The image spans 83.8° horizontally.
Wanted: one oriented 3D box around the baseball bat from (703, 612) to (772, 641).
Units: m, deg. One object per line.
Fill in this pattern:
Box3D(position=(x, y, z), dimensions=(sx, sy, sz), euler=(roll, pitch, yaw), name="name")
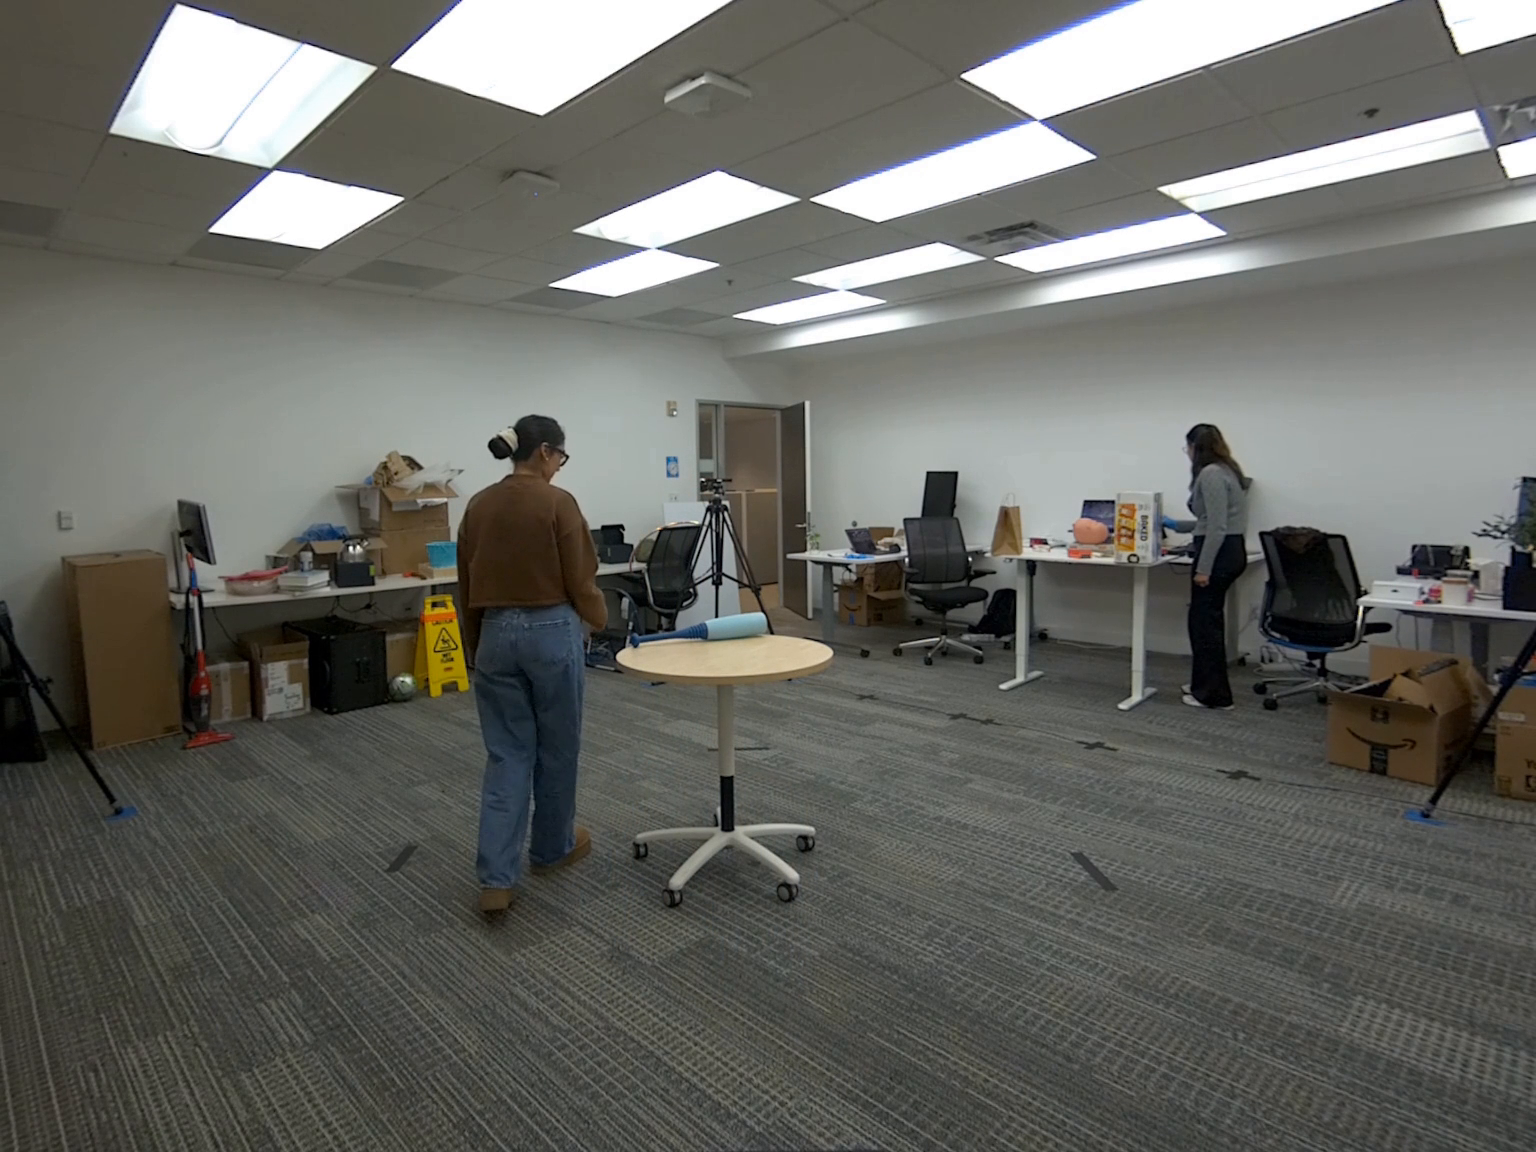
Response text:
Box3D(position=(-0.262, 0.218, 3.264), dimensions=(0.534, 0.088, 0.091), euler=(-7, 7, -21), name="baseball bat")
